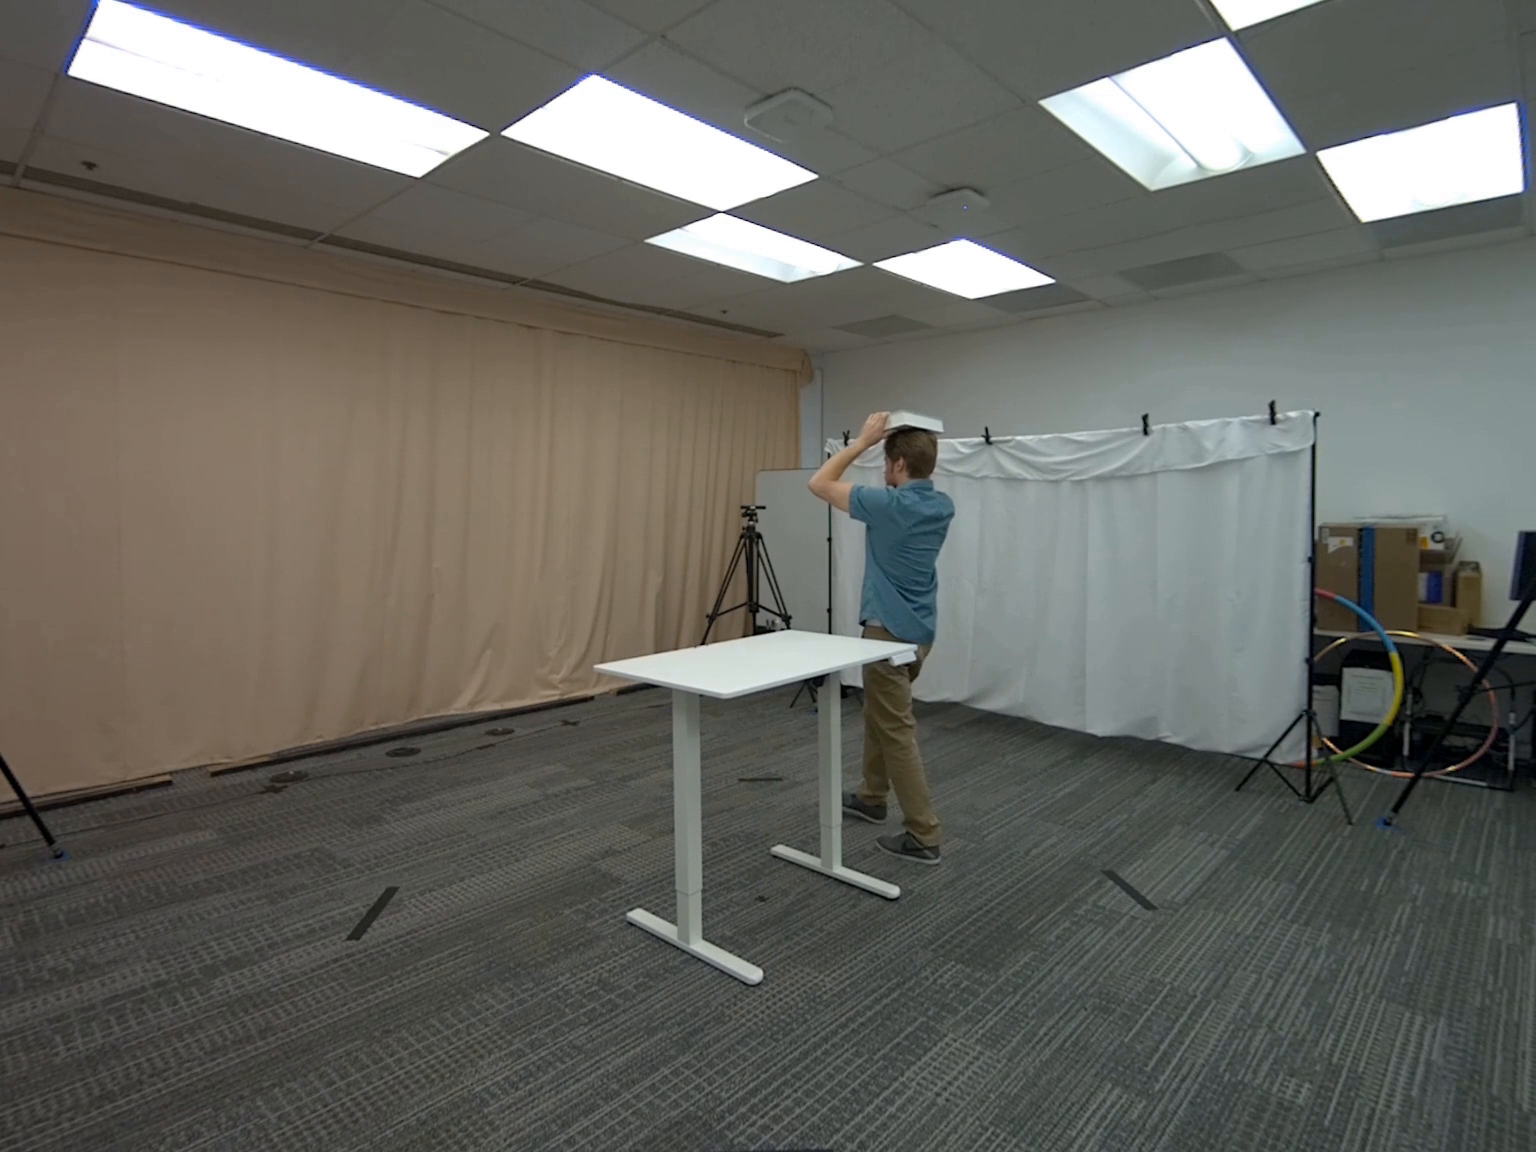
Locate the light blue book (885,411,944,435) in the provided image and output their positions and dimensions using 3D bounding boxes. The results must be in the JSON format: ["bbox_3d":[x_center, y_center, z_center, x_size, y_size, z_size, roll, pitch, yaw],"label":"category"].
[{"bbox_3d":[0.559,-0.593,3.369,0.252,0.059,0.197,3,-7,-43],"label":"light blue book"}]
